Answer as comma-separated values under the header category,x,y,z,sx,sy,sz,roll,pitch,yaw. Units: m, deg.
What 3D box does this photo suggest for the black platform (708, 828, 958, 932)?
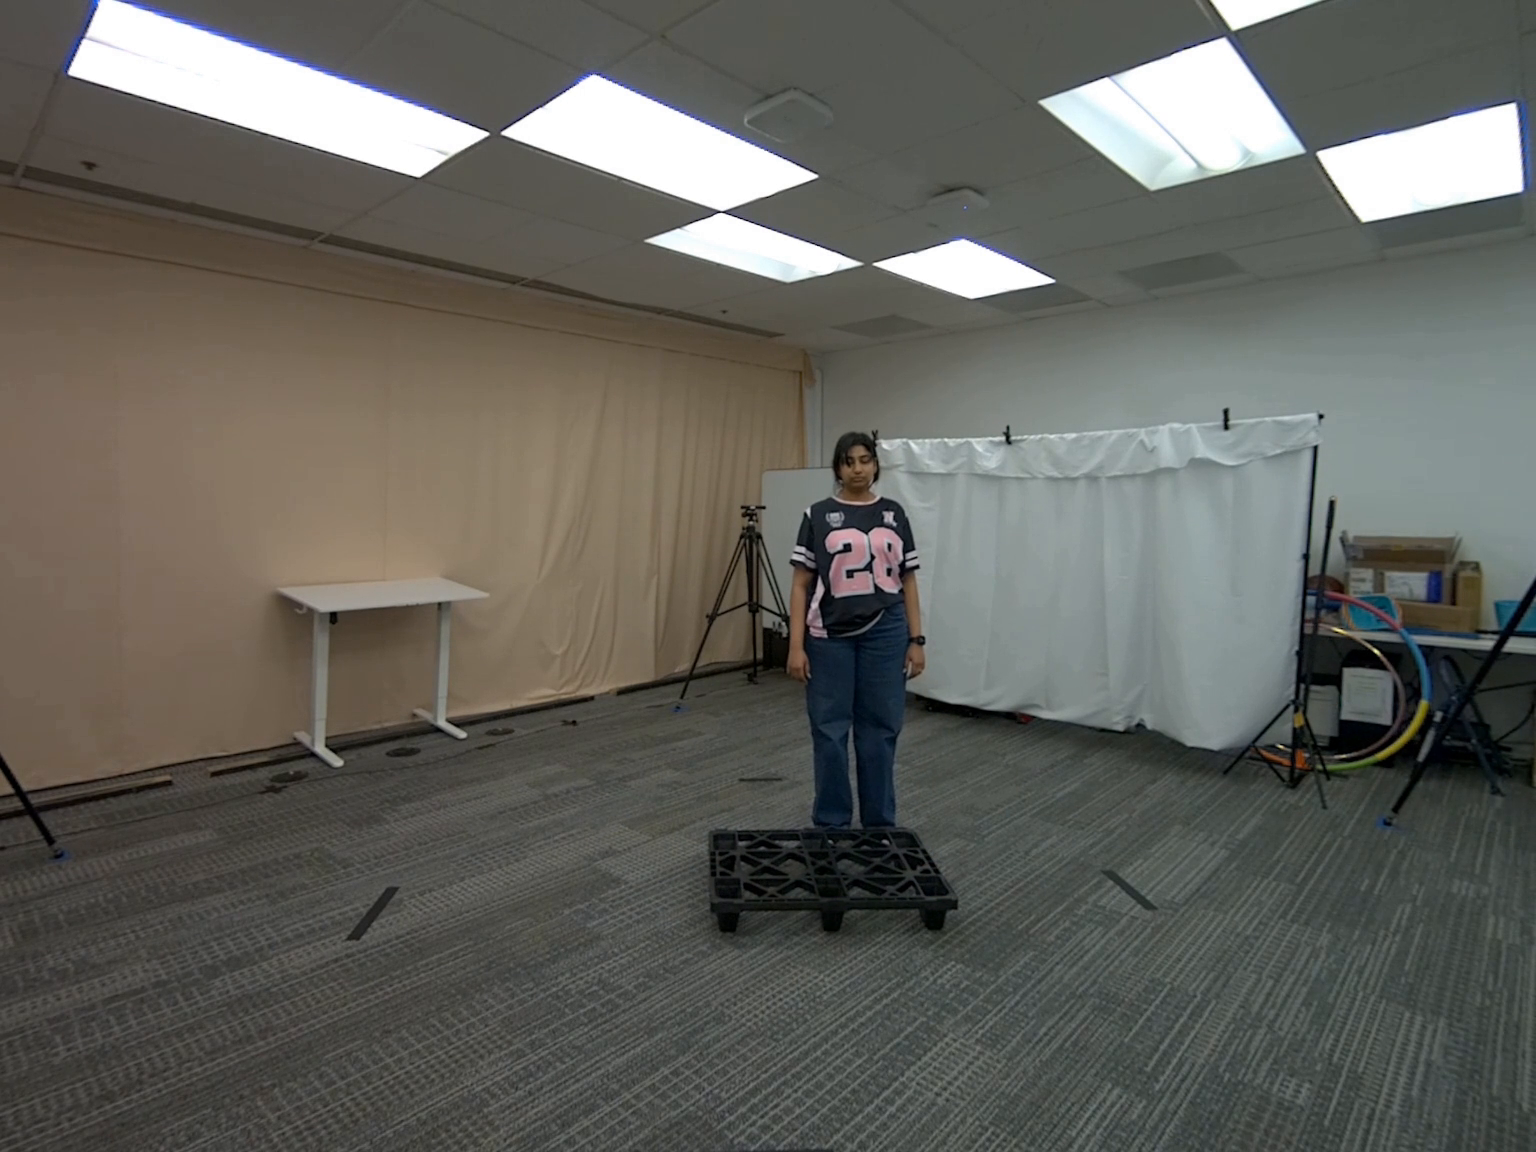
category,x,y,z,sx,sy,sz,roll,pitch,yaw
black platform,0.188,1.077,2.984,0.804,0.143,0.607,0,4,-2
